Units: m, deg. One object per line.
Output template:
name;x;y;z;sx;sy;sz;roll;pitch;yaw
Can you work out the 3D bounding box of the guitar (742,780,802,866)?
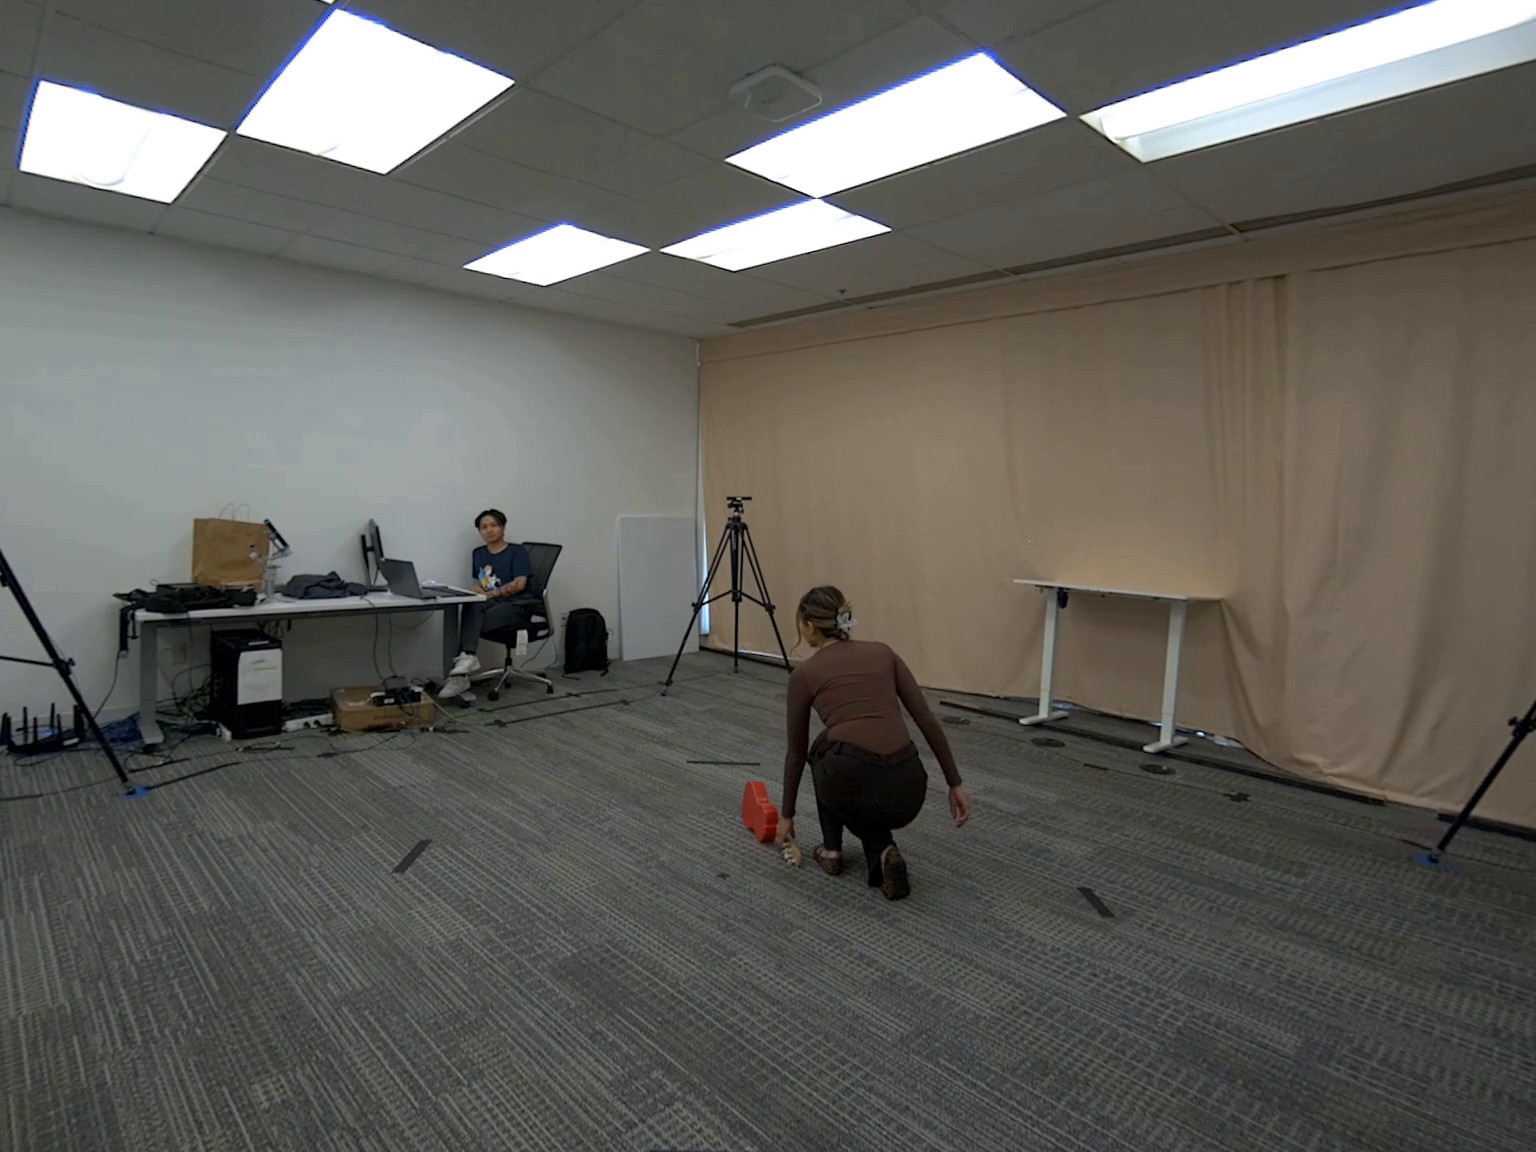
guitar;0.007;0.981;3.407;0.069;0.193;0.507;6;3;-21
